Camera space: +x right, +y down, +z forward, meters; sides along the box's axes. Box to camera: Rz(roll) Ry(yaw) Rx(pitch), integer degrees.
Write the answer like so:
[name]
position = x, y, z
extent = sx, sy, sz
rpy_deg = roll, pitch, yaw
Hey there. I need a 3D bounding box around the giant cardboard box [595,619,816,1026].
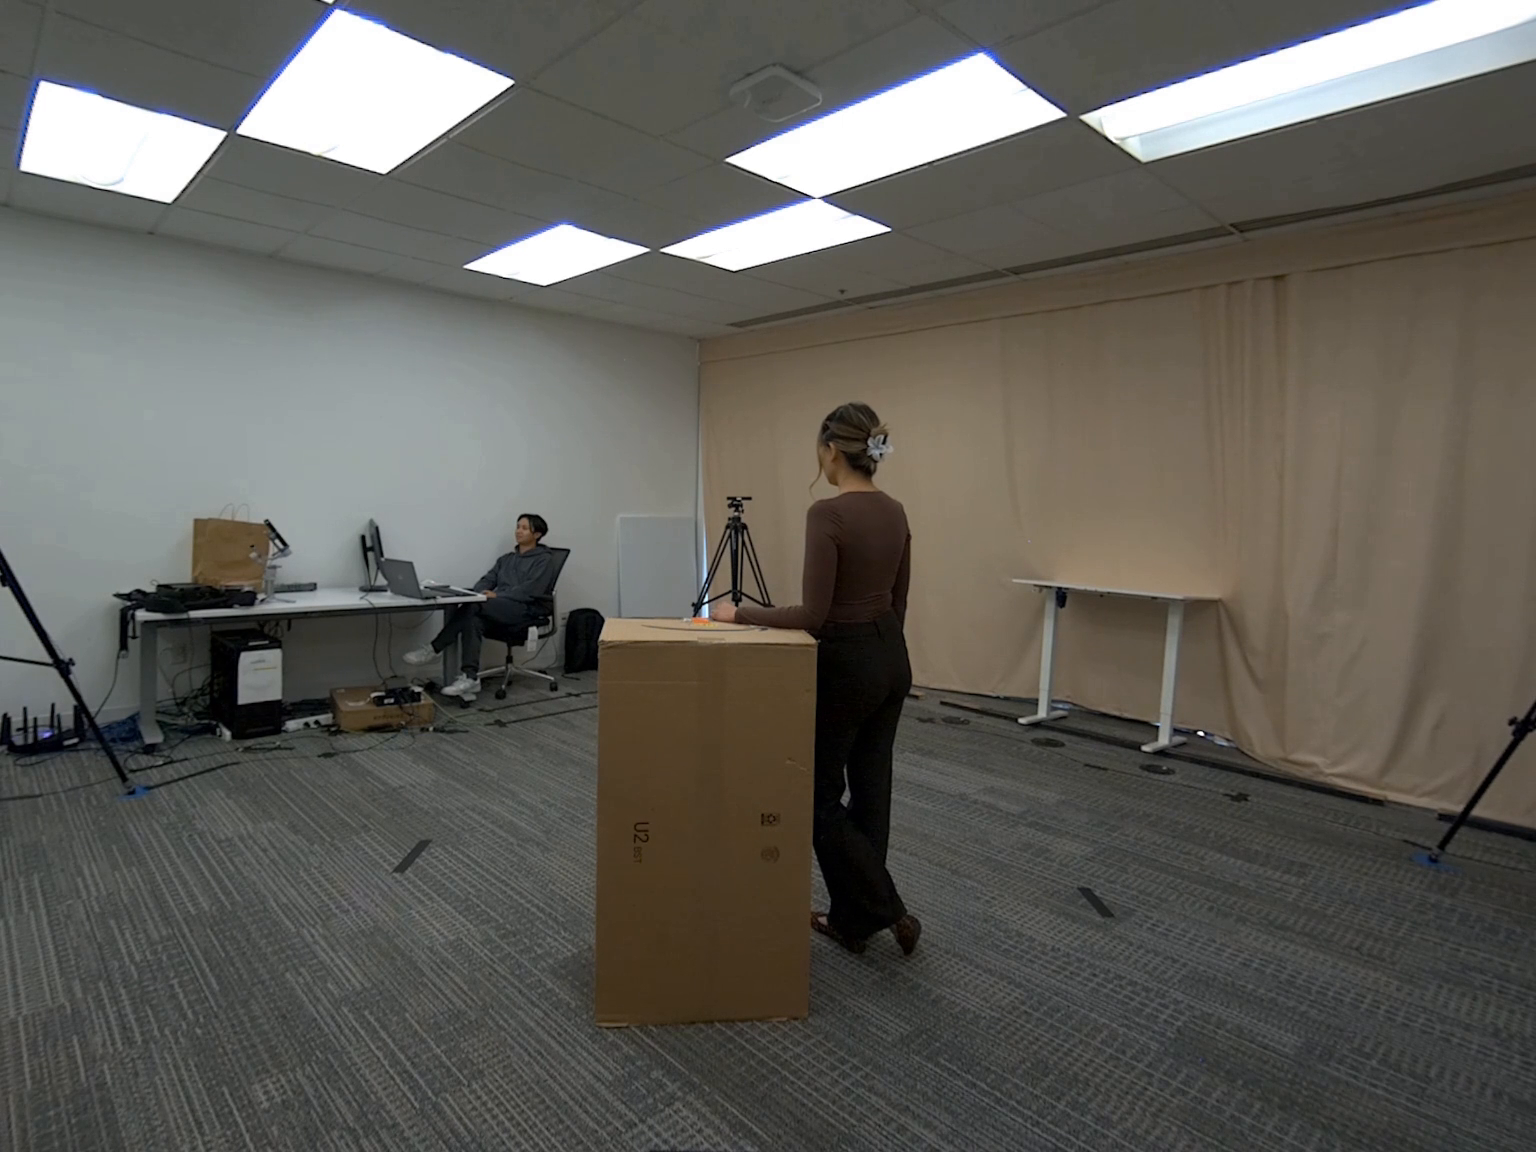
[giant cardboard box]
position = -0.203, 0.662, 2.409
extent = 0.580, 1.024, 0.450
rpy_deg = 1, 3, -7
